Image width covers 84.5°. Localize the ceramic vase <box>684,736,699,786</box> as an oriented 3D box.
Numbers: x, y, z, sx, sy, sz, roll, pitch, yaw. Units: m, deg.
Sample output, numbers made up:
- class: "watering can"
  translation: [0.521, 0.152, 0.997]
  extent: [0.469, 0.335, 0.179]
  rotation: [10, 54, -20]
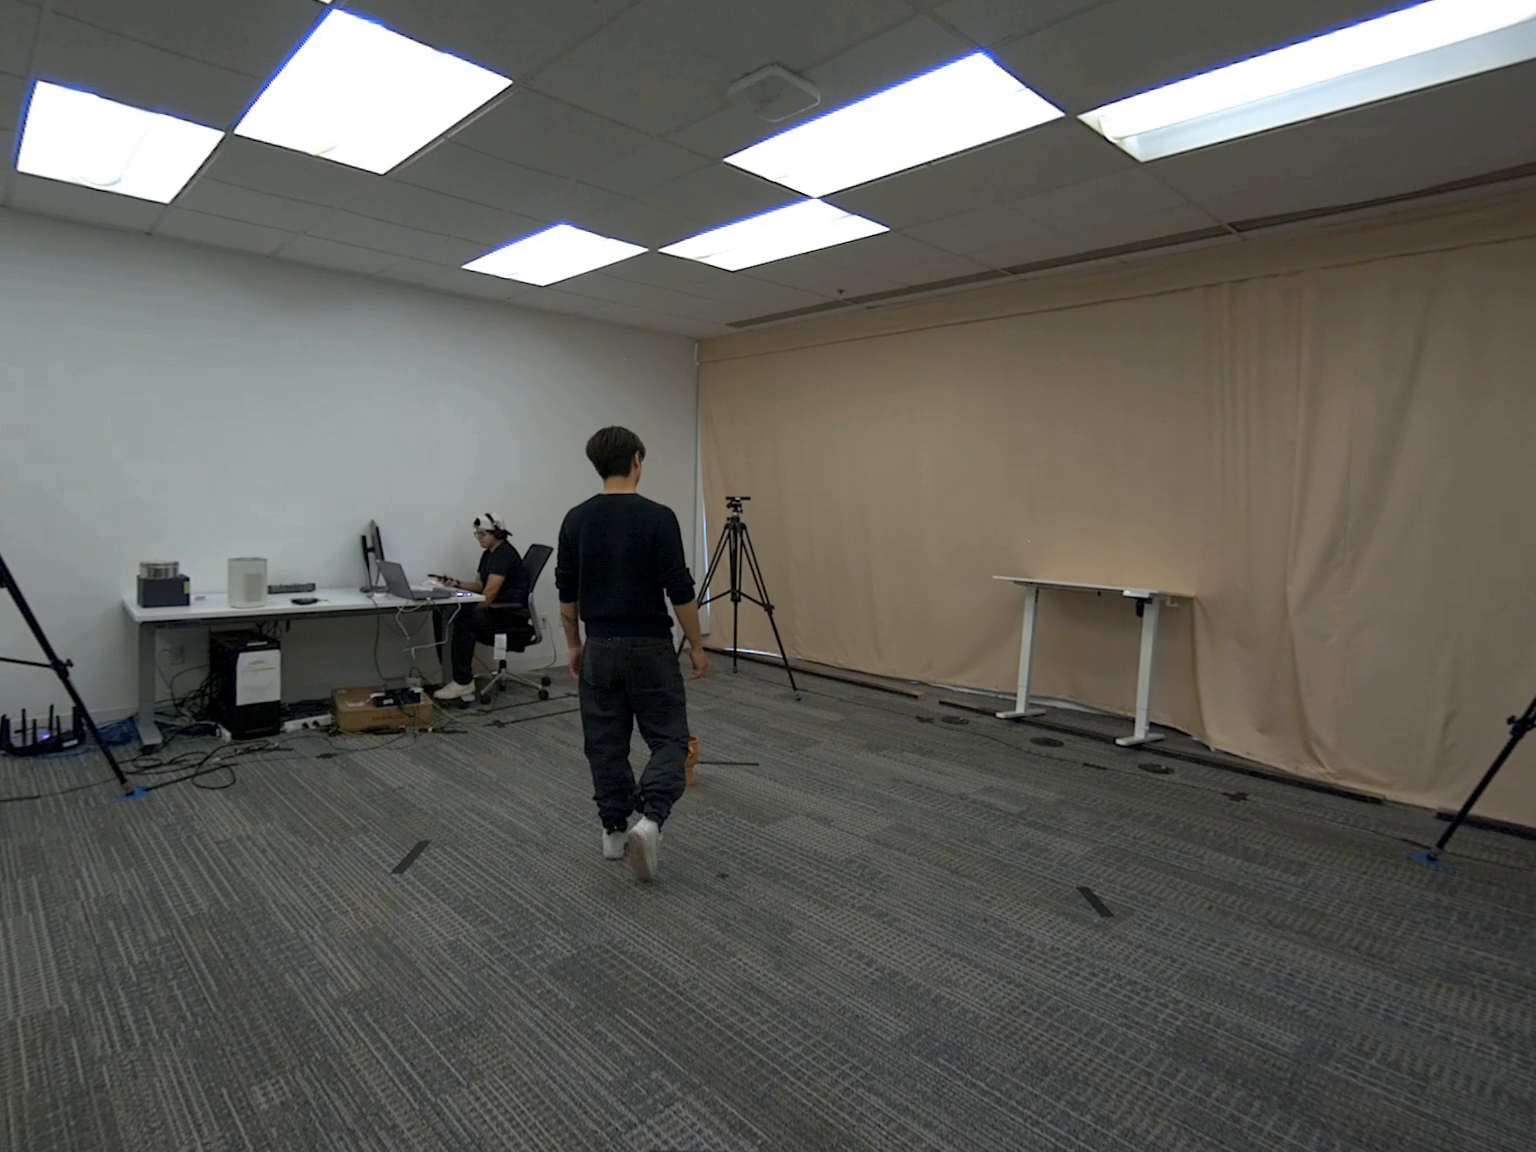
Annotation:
- class: "ceramic vase"
  translation: [-0.421, 0.902, 4.123]
  extent: [0.135, 0.219, 0.158]
  rotation: [2, 3, 8]
